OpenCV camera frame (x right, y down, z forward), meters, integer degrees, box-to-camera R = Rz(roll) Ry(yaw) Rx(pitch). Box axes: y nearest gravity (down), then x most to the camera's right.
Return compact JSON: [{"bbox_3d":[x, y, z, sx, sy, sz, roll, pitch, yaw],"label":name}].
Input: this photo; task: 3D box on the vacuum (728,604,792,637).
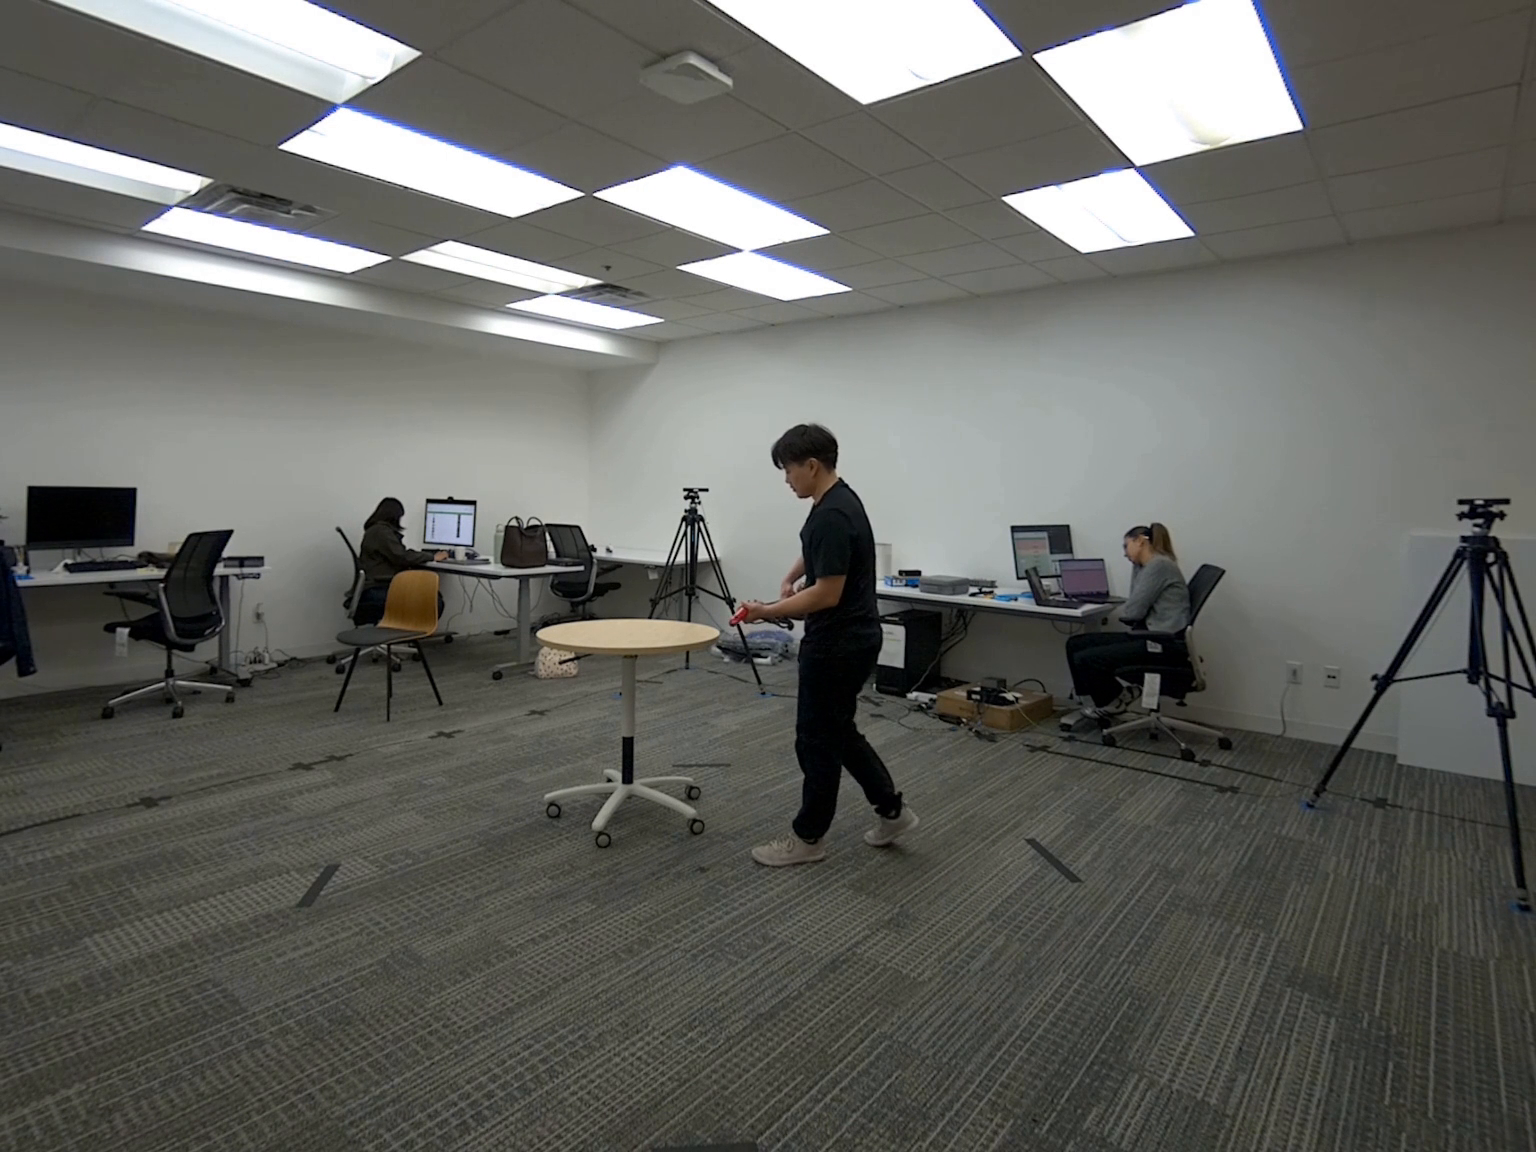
[{"bbox_3d":[0.058,0.142,3.458,0.259,0.143,1.026,17,7,20],"label":"vacuum"}]
